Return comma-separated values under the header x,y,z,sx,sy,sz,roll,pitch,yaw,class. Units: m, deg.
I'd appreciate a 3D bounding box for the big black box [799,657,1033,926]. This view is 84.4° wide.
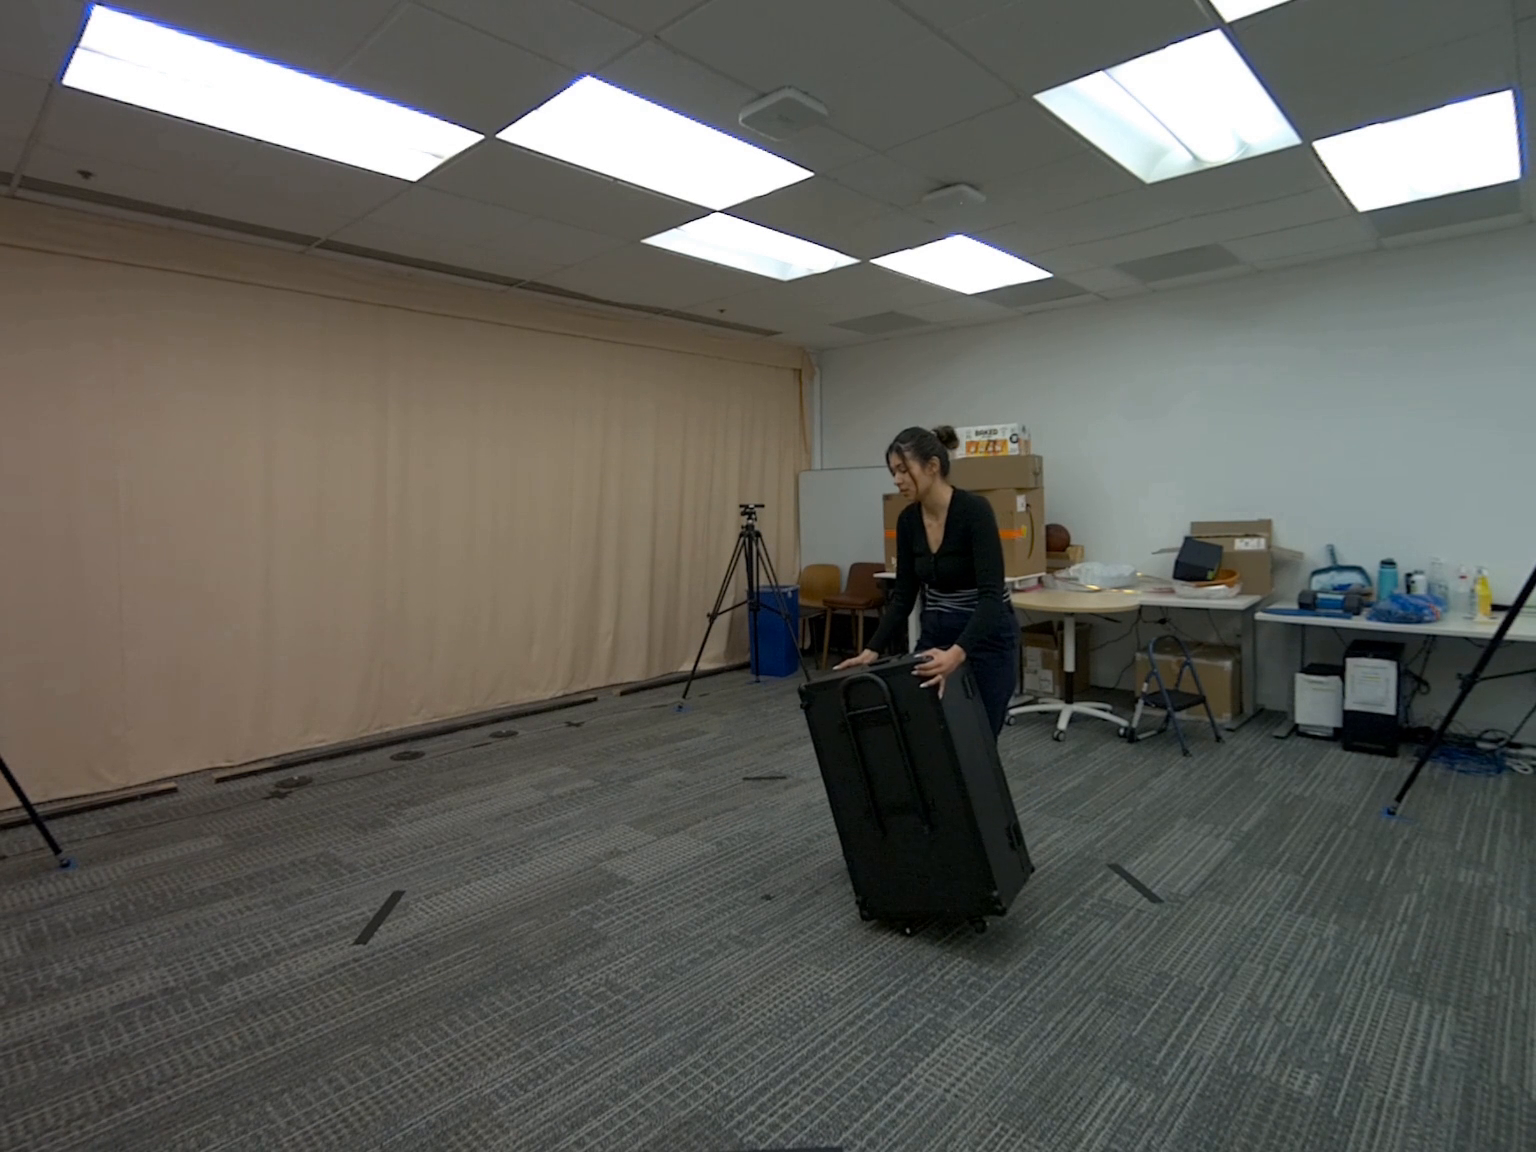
x,y,z,sx,sy,sz,roll,pitch,yaw,class
0.494,0.705,2.782,0.532,0.866,0.385,-20,-7,33,big black box
